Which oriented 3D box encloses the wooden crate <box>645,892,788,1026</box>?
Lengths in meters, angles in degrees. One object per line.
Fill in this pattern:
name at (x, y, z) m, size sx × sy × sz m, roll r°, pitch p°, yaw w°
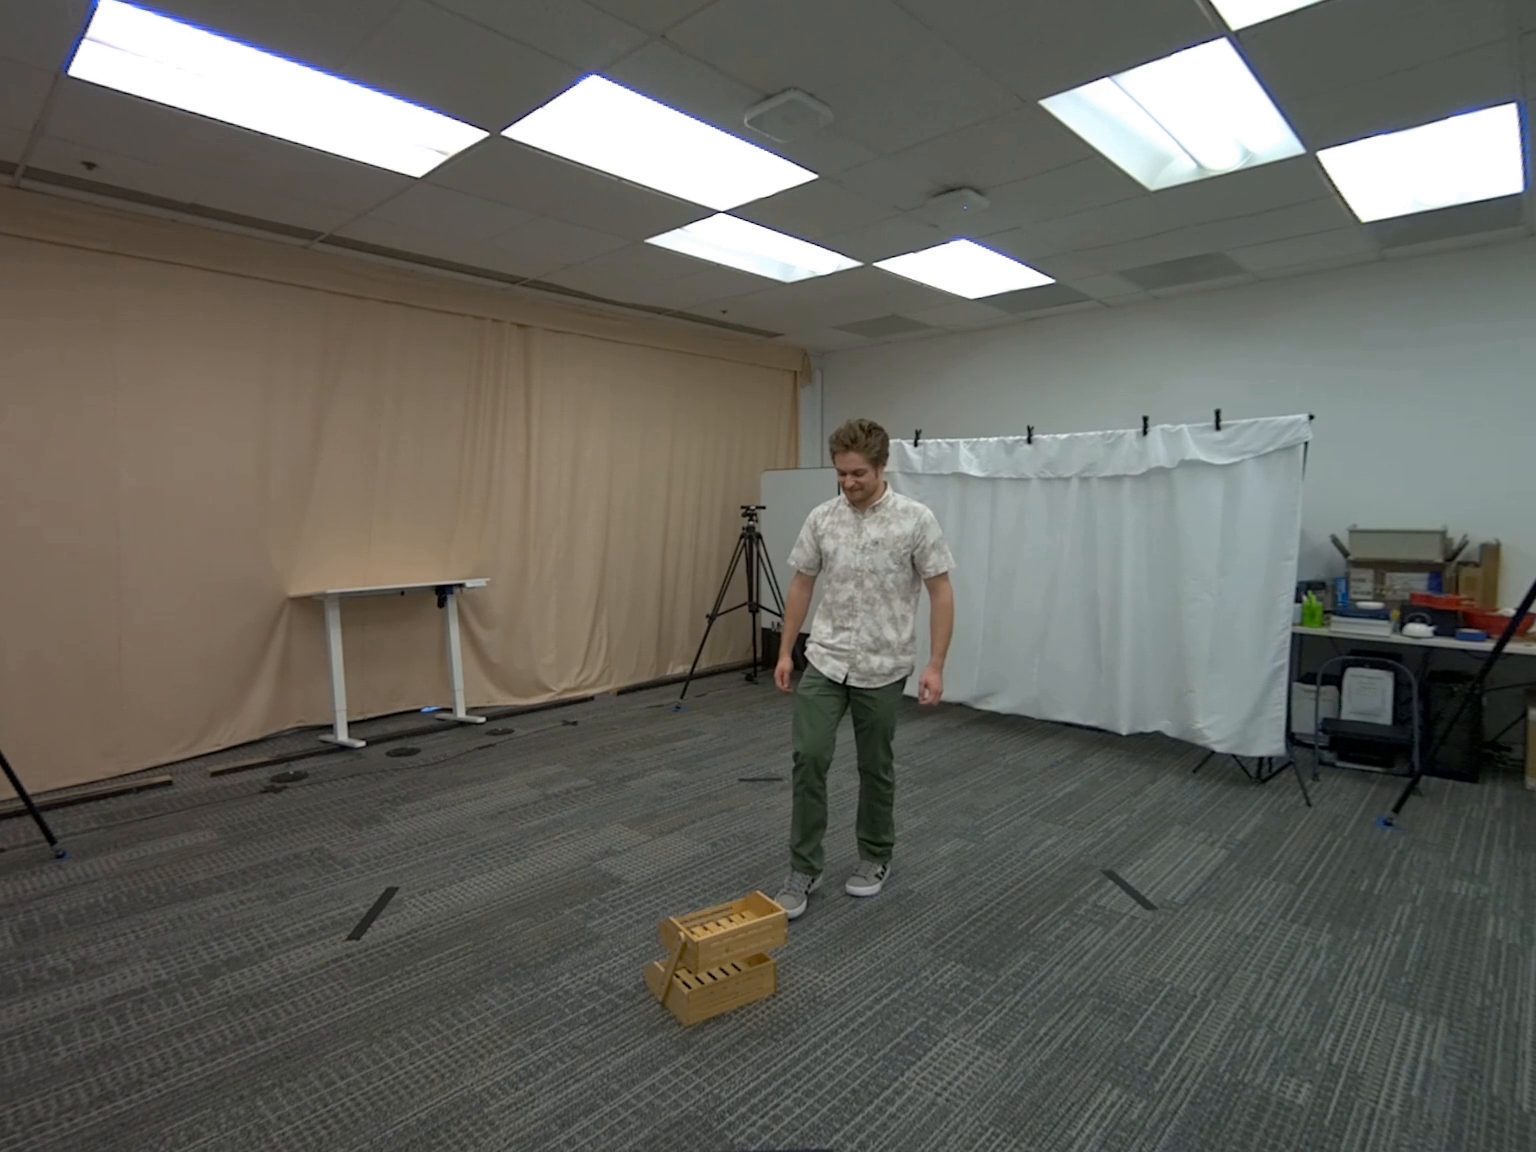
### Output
wooden crate at (-0.153, 1.060, 2.401) m, size 0.315 × 0.272 × 0.311 m, roll -2°, pitch 5°, yaw -34°
